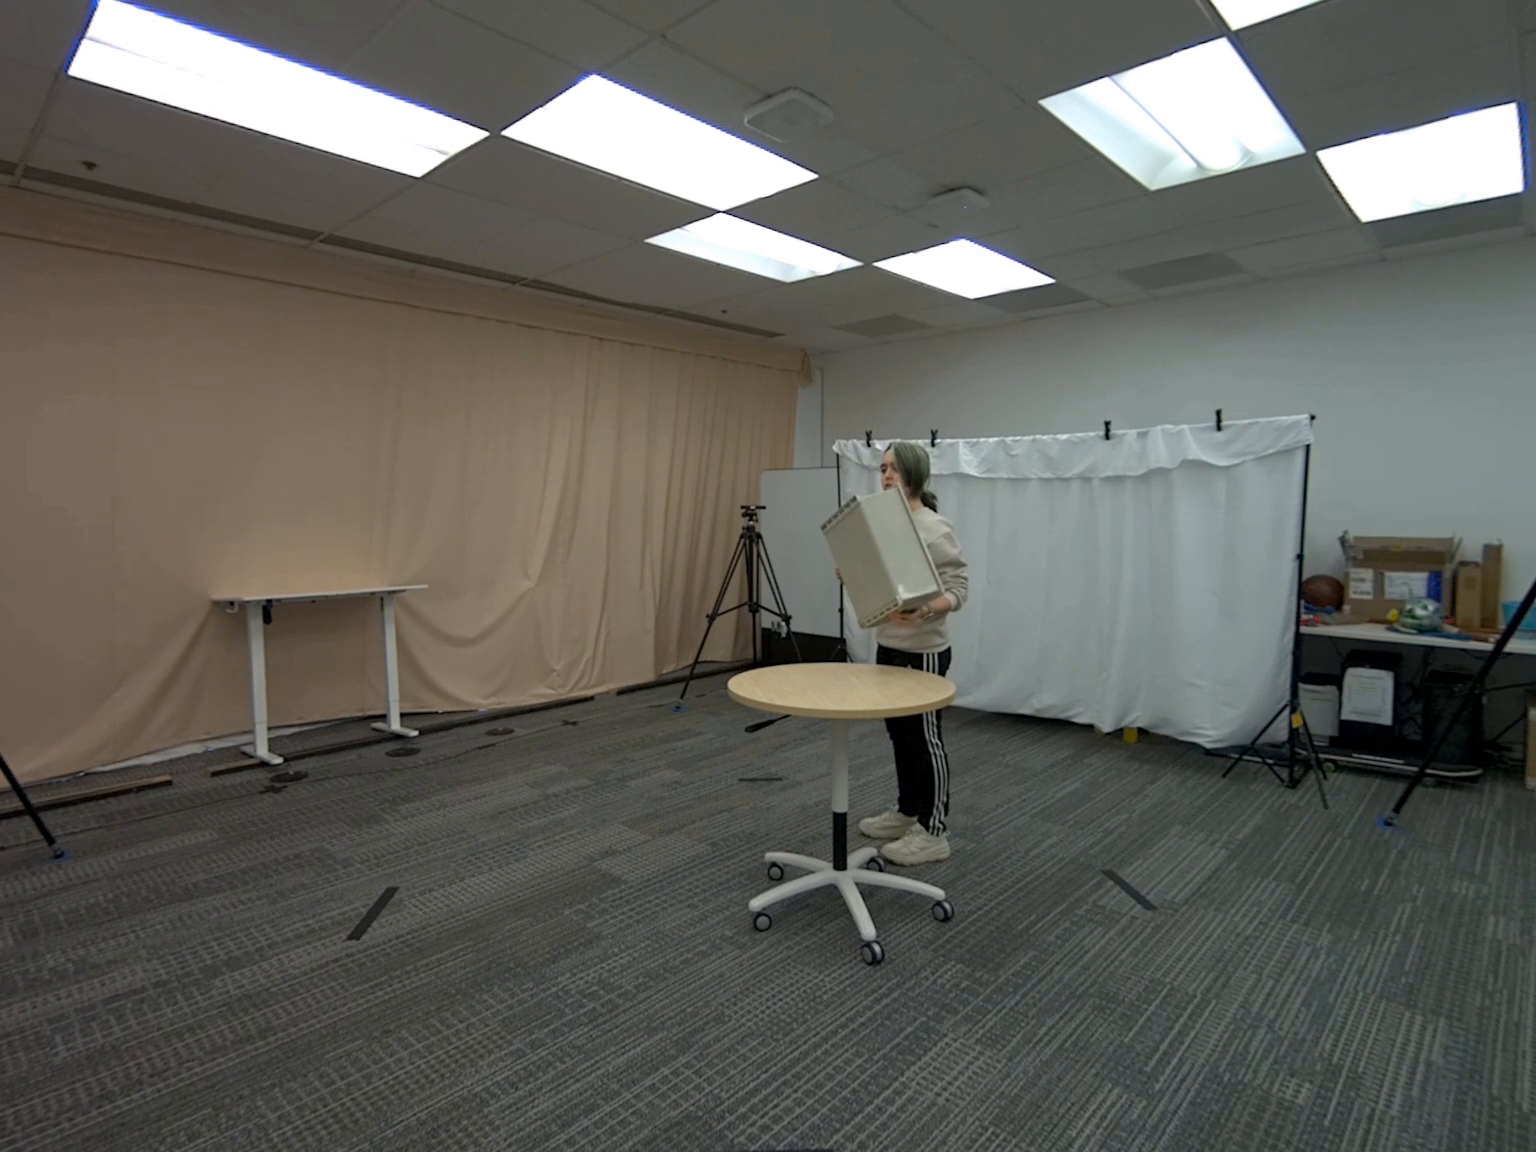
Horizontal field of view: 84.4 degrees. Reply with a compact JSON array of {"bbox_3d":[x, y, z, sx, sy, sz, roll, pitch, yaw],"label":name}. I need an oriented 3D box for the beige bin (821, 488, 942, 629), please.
[{"bbox_3d":[0.388,-0.056,3.026,0.185,0.428,0.379,-14,-14,-23],"label":"beige bin"}]
